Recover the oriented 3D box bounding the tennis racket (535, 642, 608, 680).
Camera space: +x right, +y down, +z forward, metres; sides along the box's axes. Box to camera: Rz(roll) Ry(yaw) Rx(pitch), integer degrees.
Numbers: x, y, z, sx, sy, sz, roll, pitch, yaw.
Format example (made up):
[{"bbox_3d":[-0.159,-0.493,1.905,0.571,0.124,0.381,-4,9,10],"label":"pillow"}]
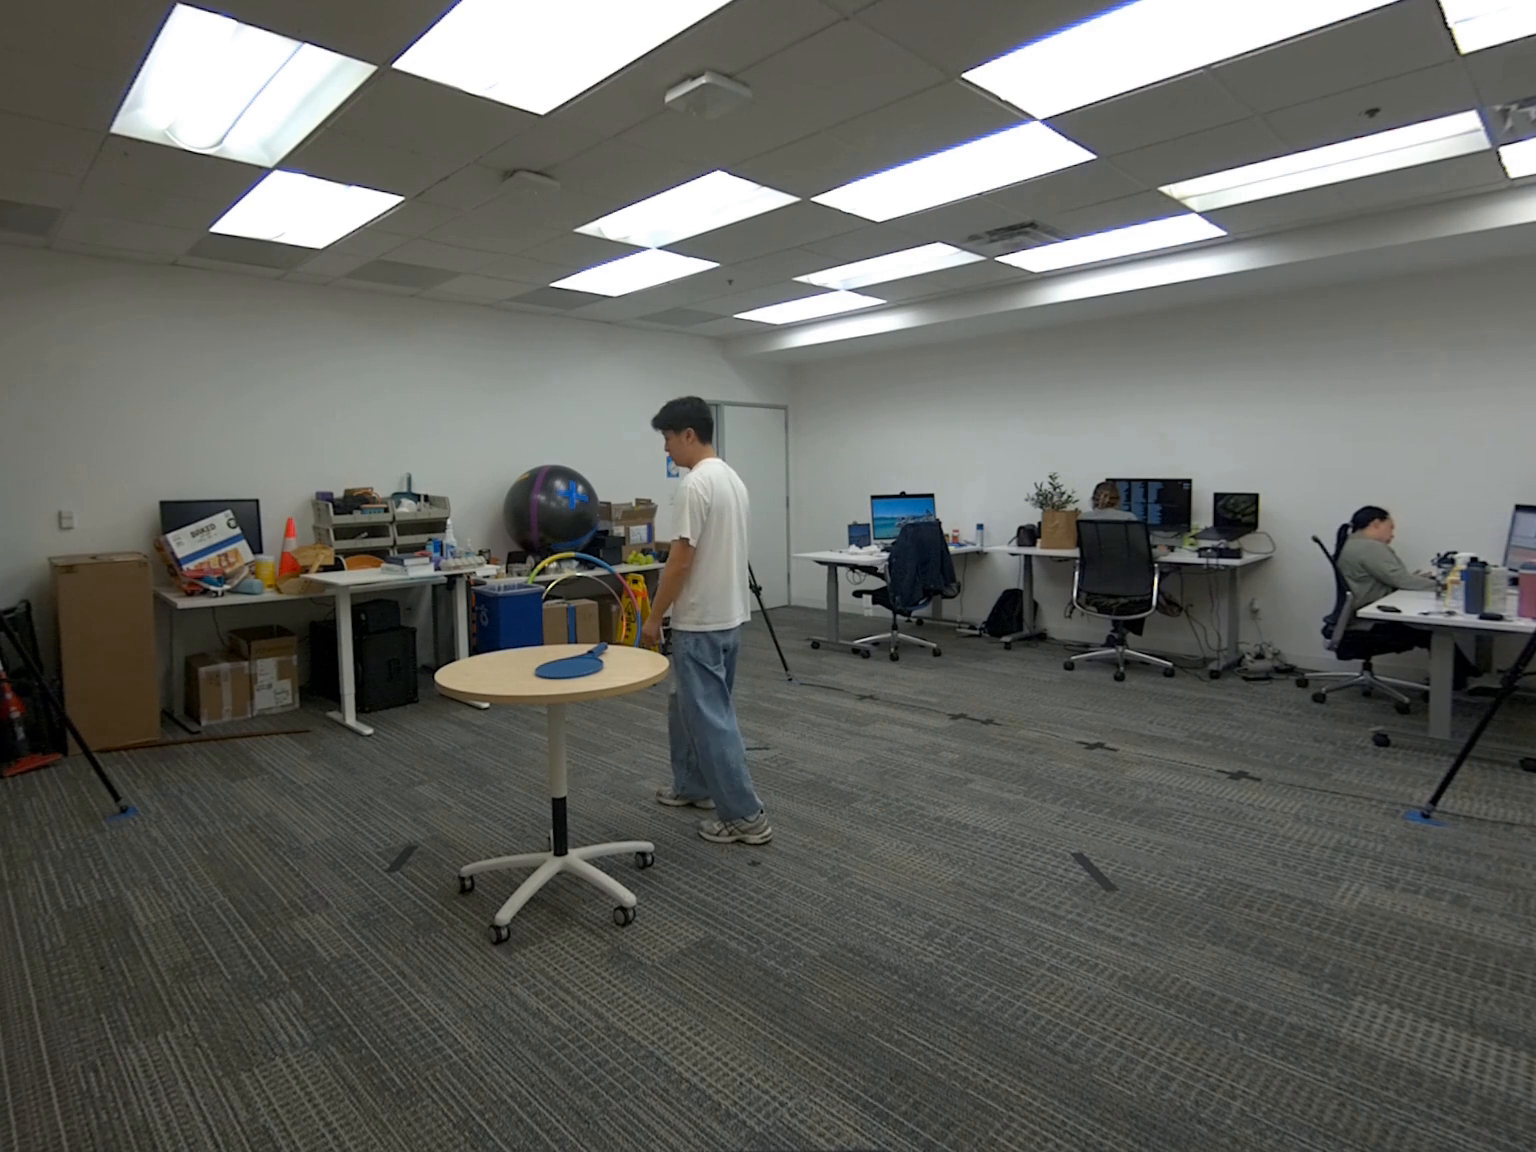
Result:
[{"bbox_3d":[-0.629,0.291,2.870,0.217,0.031,0.429,0,8,14],"label":"tennis racket"}]
